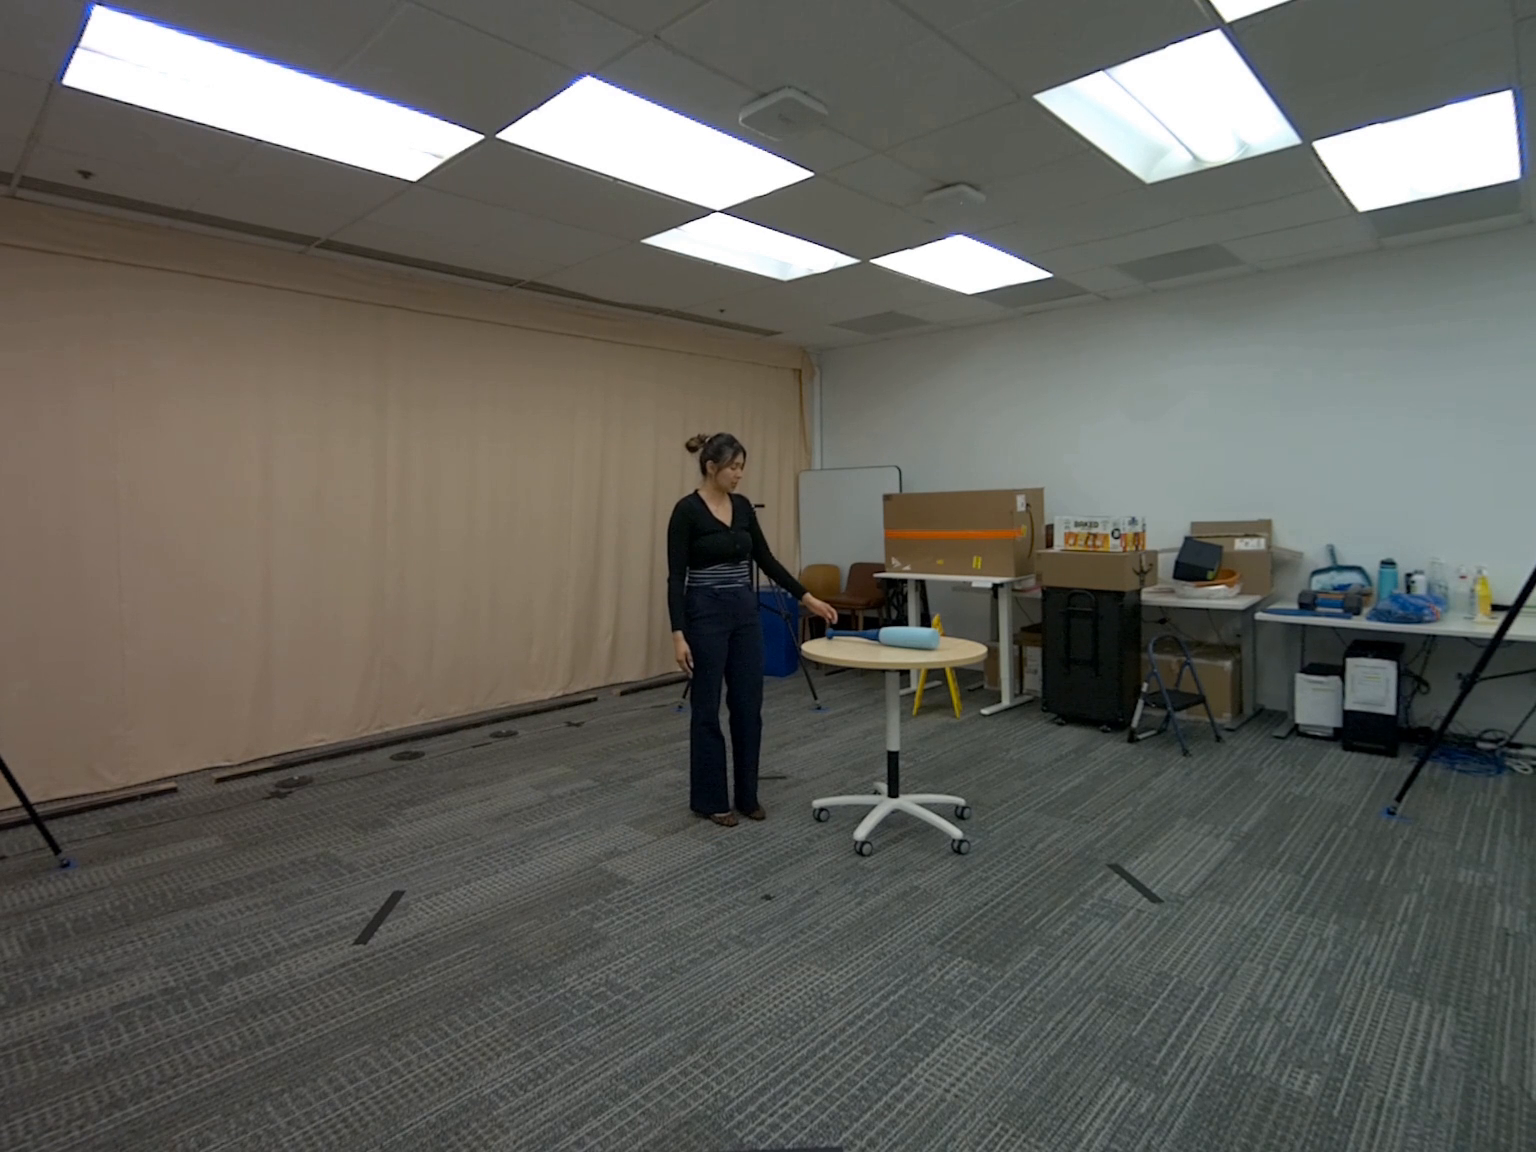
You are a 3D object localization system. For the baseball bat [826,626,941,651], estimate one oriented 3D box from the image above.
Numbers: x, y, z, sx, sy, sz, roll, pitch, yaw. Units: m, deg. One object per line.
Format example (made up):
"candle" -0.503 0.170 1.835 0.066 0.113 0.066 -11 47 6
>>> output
"baseball bat" 0.480 0.259 3.616 0.560 0.089 0.086 -1 3 43
